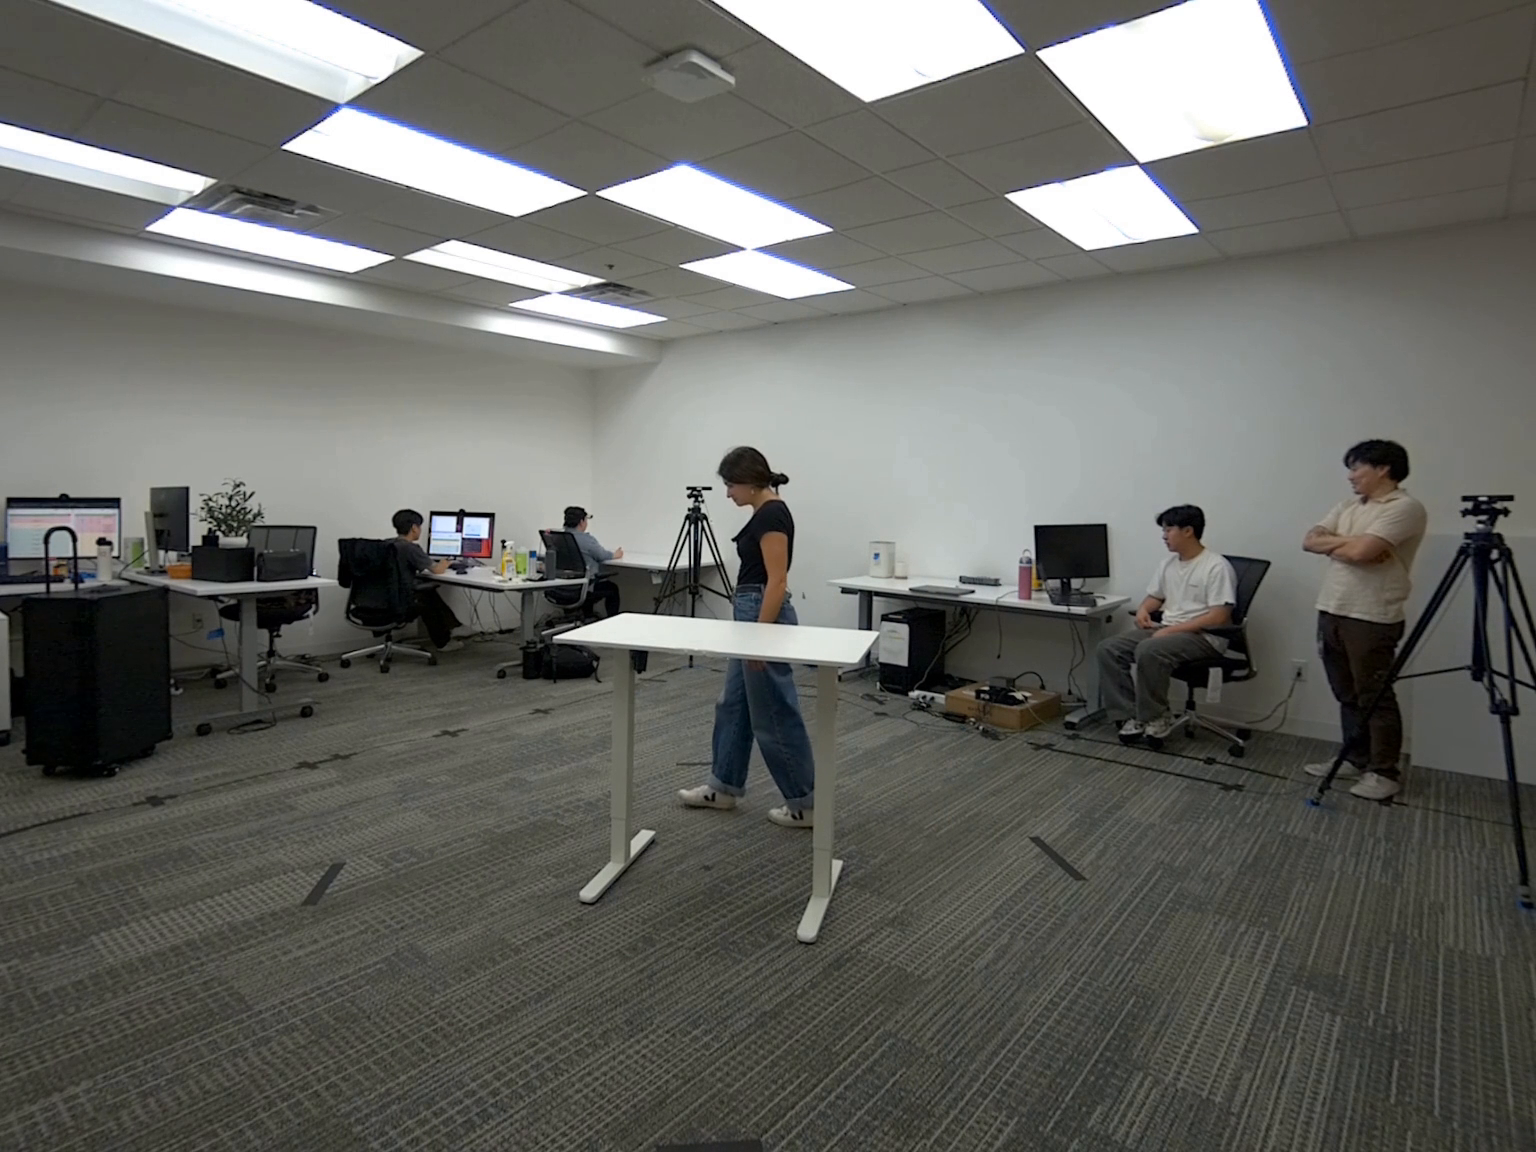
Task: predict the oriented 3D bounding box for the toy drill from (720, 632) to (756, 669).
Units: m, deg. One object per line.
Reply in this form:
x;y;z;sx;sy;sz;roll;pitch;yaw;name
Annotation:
-0.138;0.338;3.842;0.147;0.164;0.063;-2;43;4;toy drill
